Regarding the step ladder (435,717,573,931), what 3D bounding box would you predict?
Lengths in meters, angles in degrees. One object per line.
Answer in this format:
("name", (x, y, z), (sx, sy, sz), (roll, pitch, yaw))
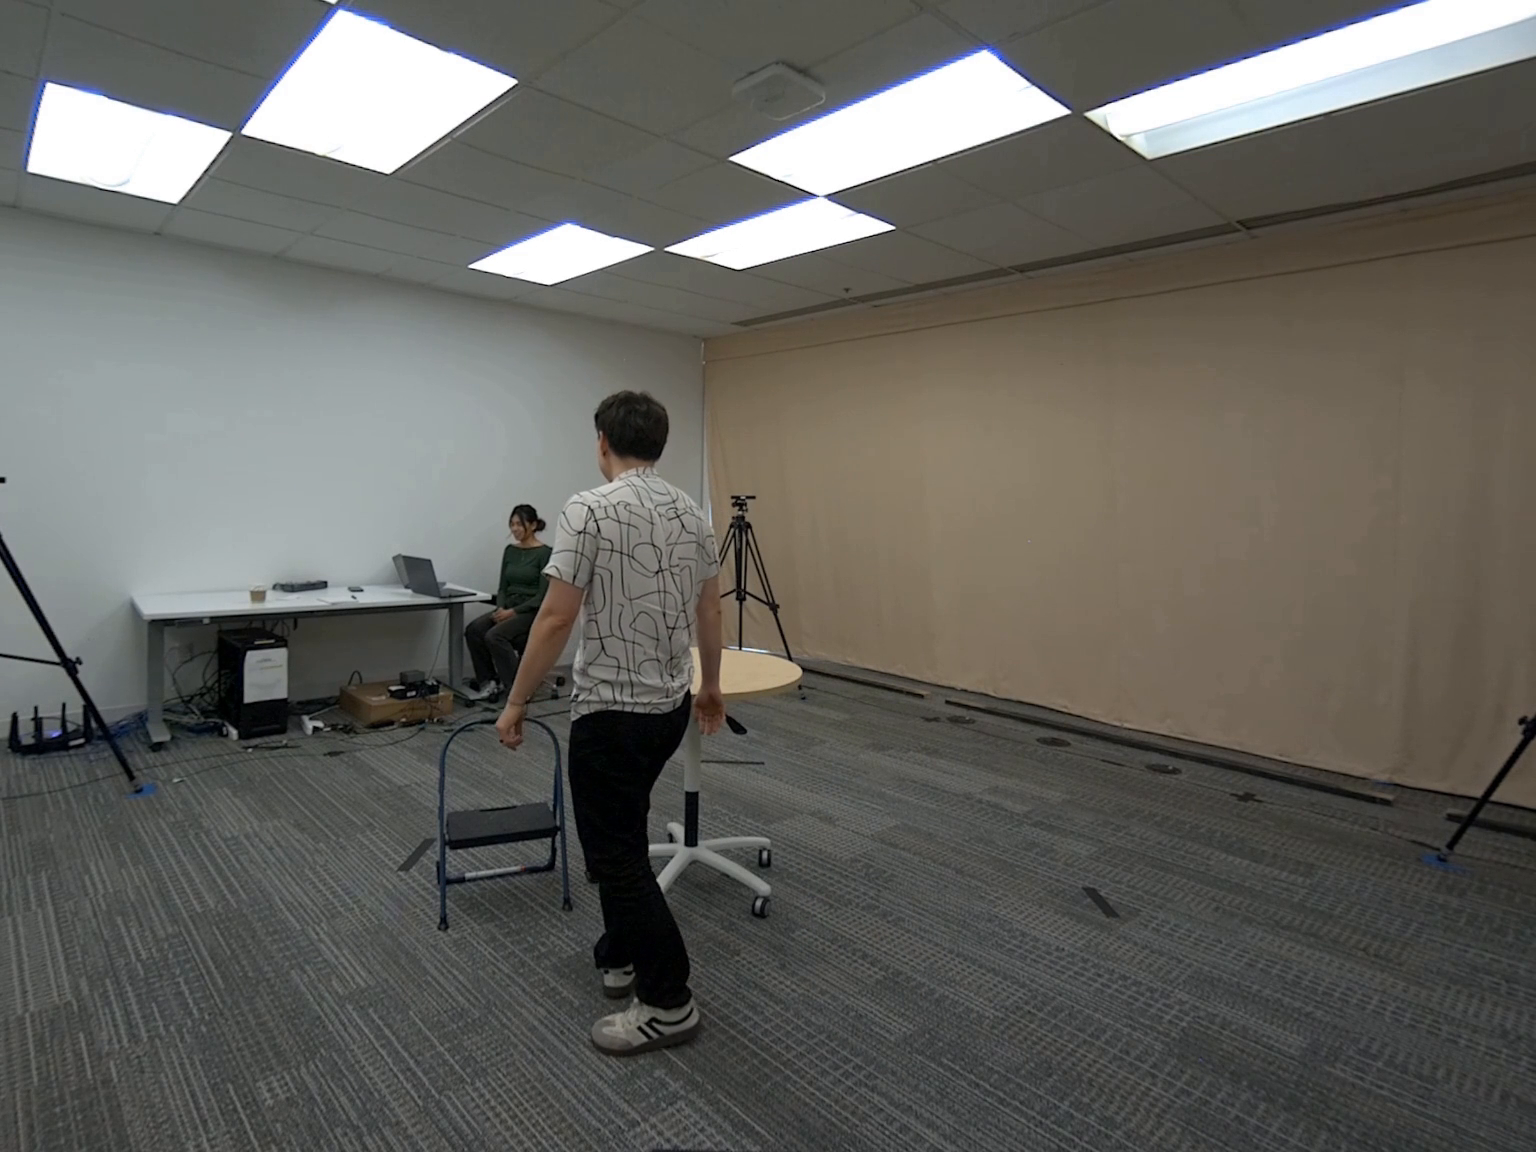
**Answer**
("step ladder", (-0.917, 0.807, 2.881), (0.423, 0.604, 0.356), (-1, 4, -23))
